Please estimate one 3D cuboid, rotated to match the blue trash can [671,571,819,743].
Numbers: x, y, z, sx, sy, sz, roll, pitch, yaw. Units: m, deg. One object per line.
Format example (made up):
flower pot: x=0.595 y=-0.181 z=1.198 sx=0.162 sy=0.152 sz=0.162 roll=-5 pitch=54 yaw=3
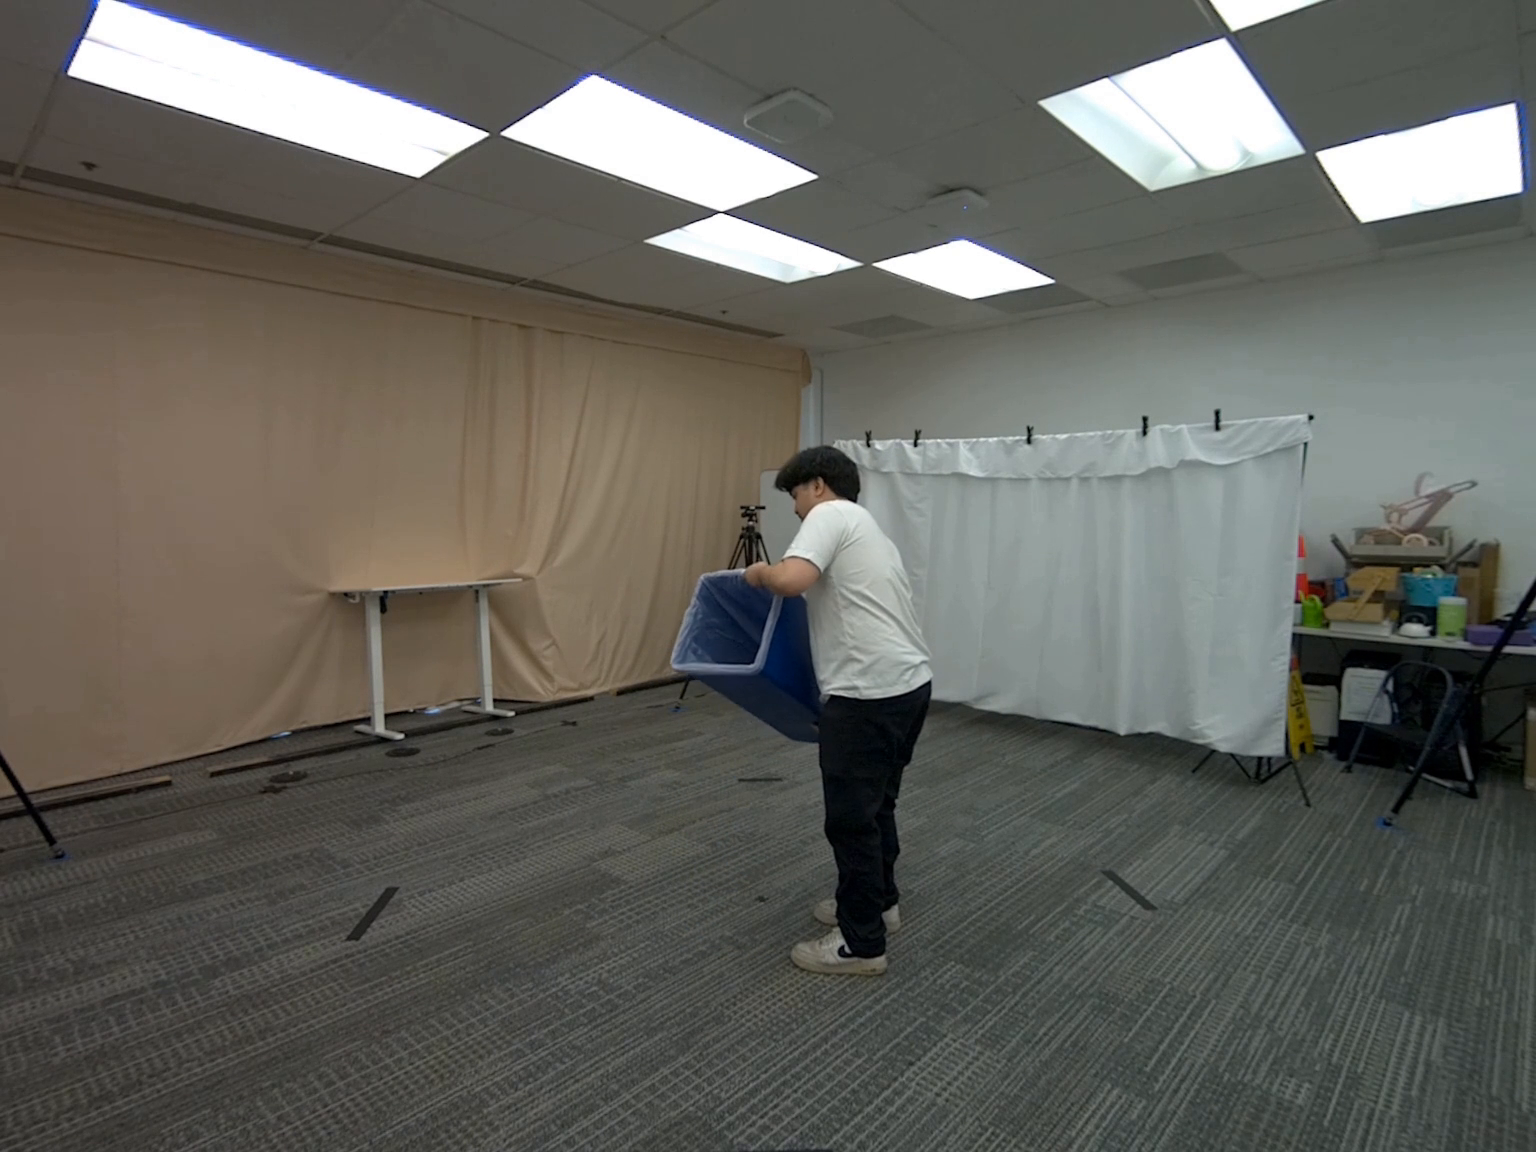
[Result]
blue trash can: x=0.048 y=0.324 z=2.957 sx=0.389 sy=0.376 sz=0.688 roll=-4 pitch=-34 yaw=38
